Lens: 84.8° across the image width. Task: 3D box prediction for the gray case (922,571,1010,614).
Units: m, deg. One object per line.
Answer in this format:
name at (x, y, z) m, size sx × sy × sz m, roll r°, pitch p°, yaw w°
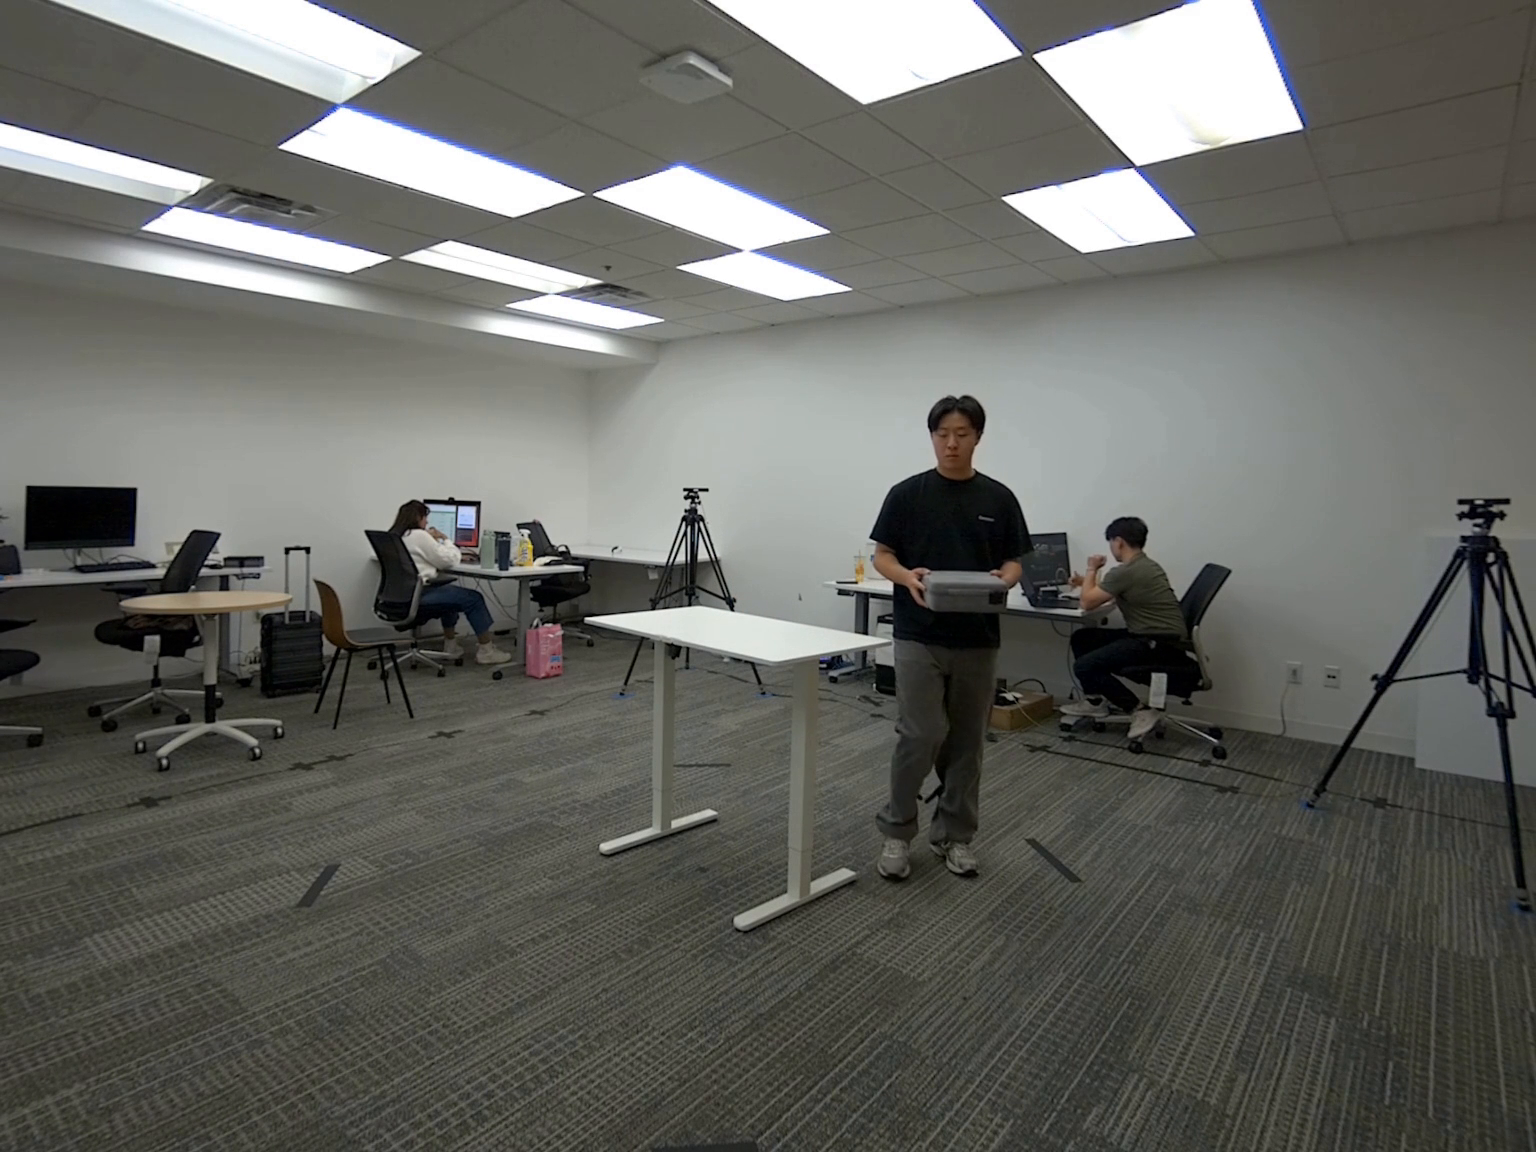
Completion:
gray case at (0.655, 0.046, 2.895) m, size 0.265 × 0.102 × 0.288 m, roll -1°, pitch 8°, yaw 4°
